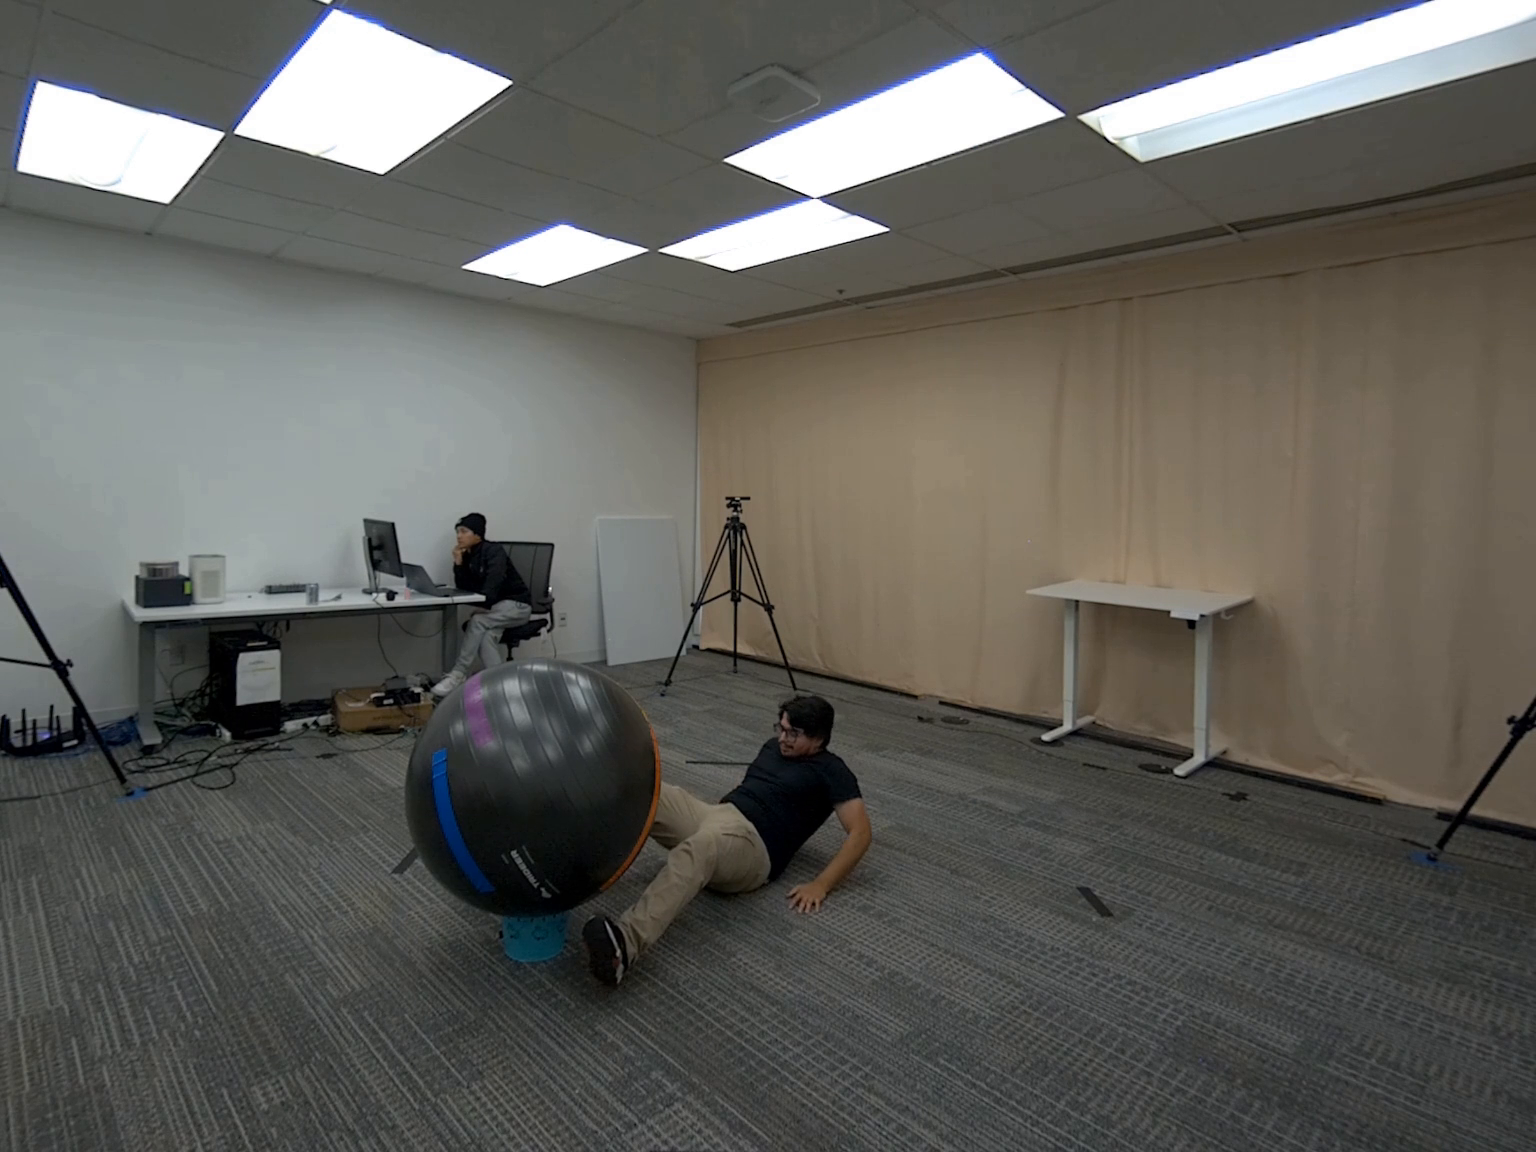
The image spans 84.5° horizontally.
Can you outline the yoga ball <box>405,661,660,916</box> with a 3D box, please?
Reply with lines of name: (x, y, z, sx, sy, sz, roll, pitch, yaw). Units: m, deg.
yoga ball: (-0.713, 0.638, 2.566, 0.757, 0.756, 0.761, 1, 4, -1)
